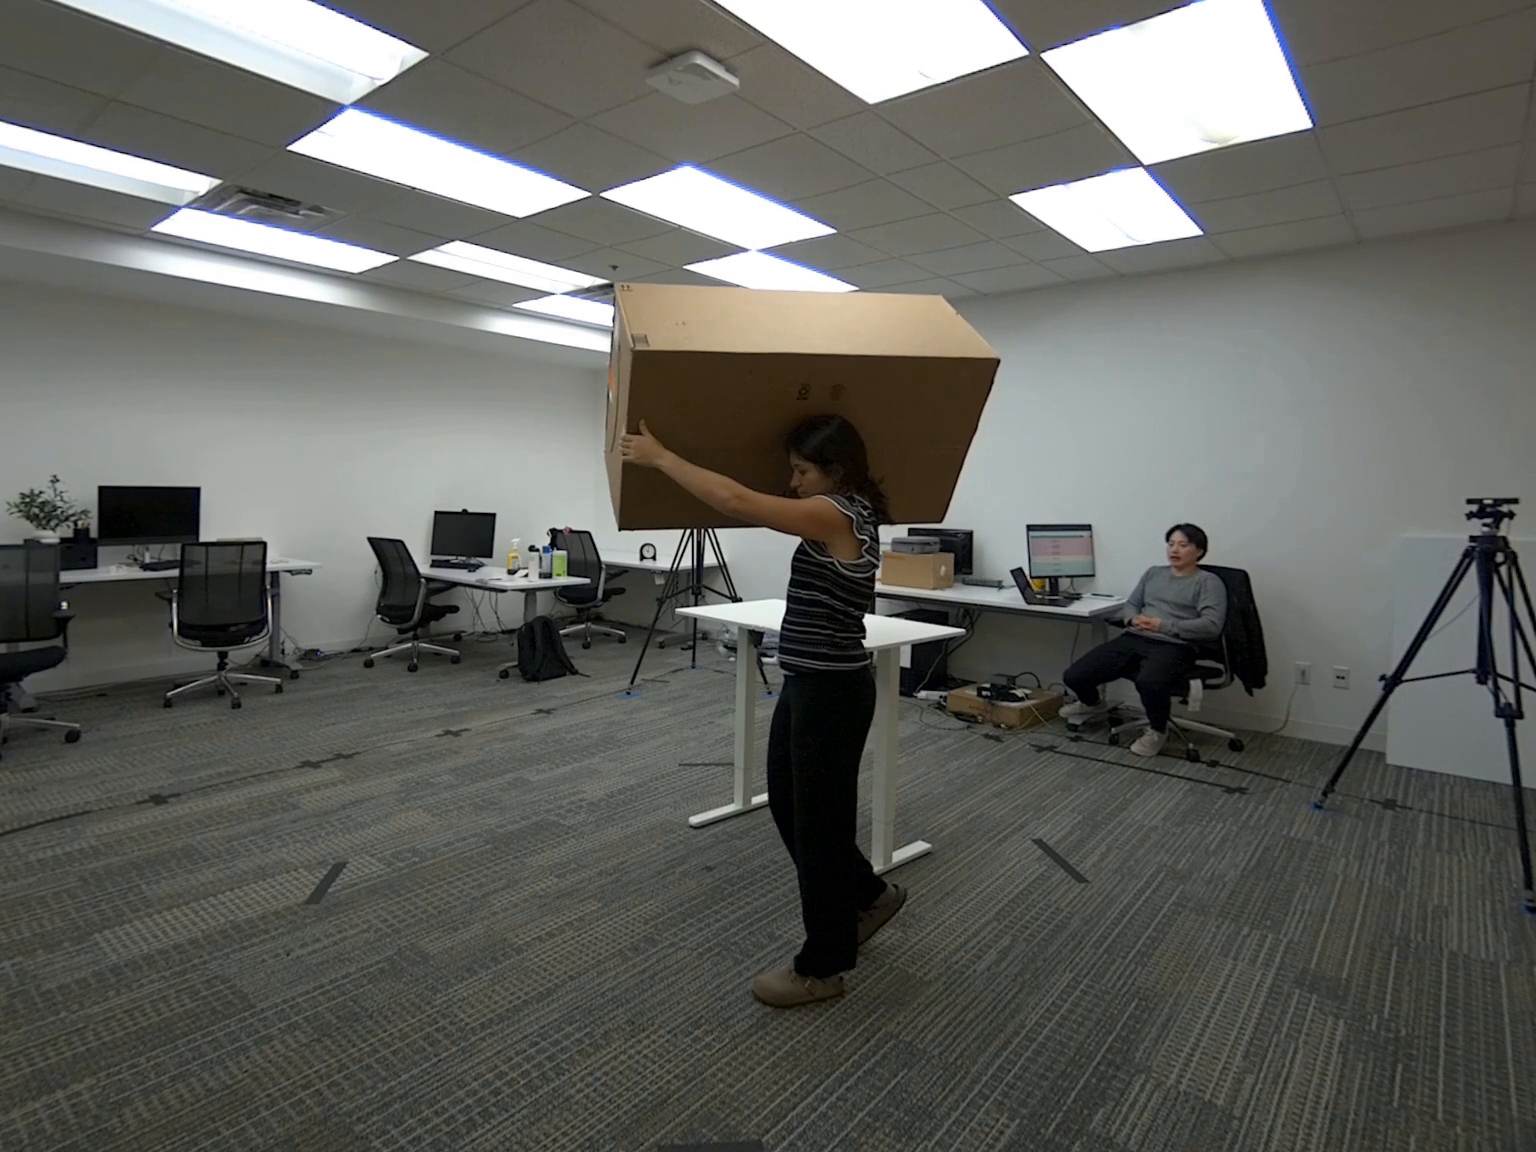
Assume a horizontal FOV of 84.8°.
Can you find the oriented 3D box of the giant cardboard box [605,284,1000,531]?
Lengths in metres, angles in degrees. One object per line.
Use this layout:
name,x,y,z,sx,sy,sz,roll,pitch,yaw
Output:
giant cardboard box,0.044,-0.501,2.543,1.011,0.564,0.442,-2,40,-14
